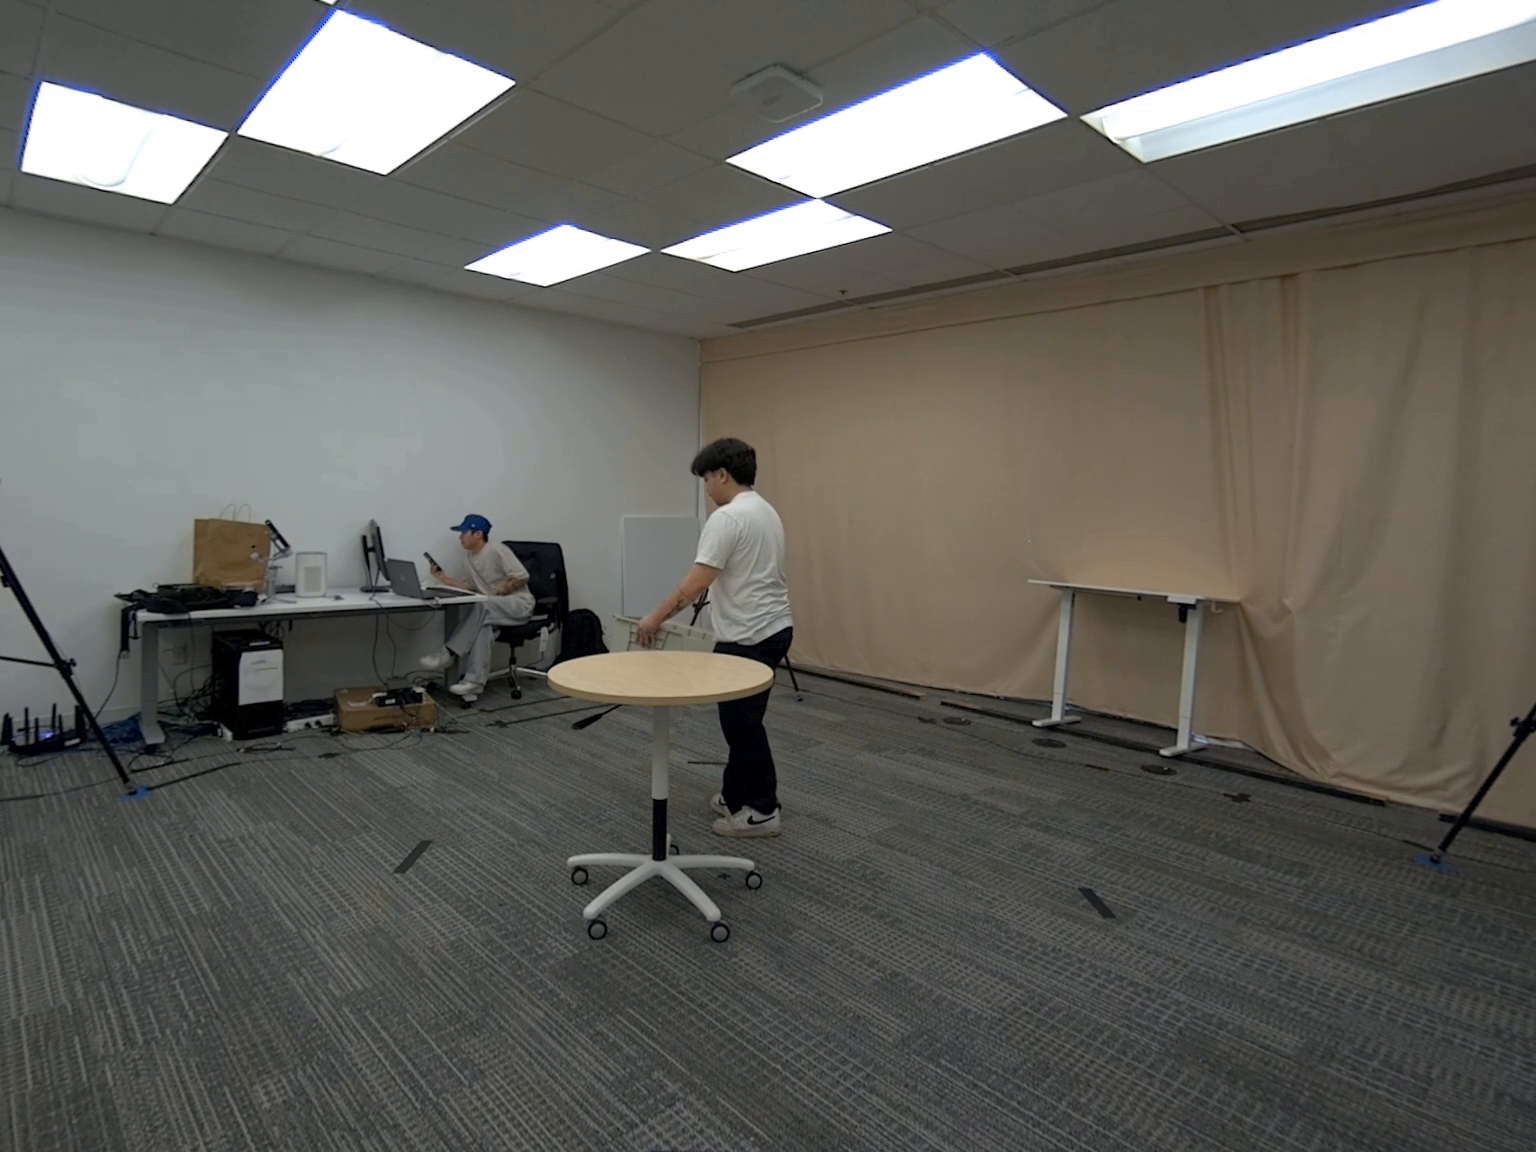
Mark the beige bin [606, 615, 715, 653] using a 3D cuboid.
[{"bbox_3d":[-0.444,0.284,3.707,0.385,0.189,0.413,9,1,27],"label":"beige bin"}]
